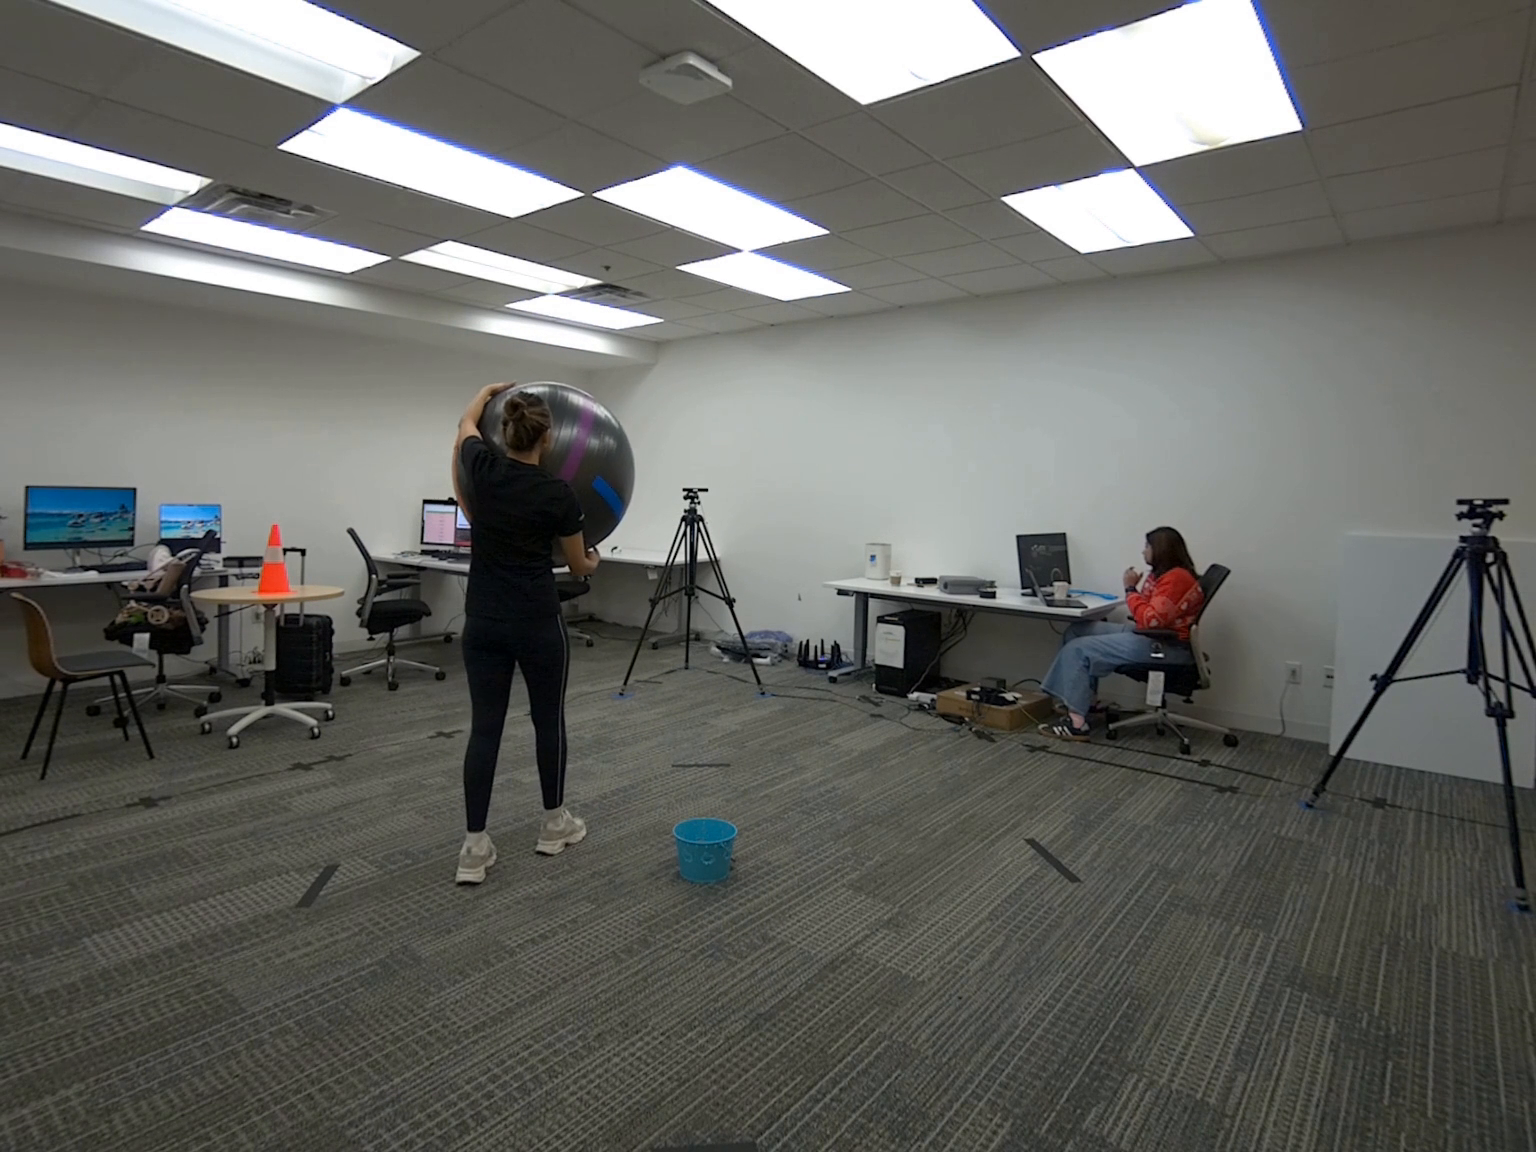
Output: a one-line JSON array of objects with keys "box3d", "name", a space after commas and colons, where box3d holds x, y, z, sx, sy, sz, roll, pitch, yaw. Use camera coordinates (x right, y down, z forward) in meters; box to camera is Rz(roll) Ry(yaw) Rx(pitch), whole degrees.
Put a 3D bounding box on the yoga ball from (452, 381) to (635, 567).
[{"box3d": [-0.966, -0.438, 3.599, 0.757, 0.756, 0.761, 1, 4, -2], "name": "yoga ball"}]
